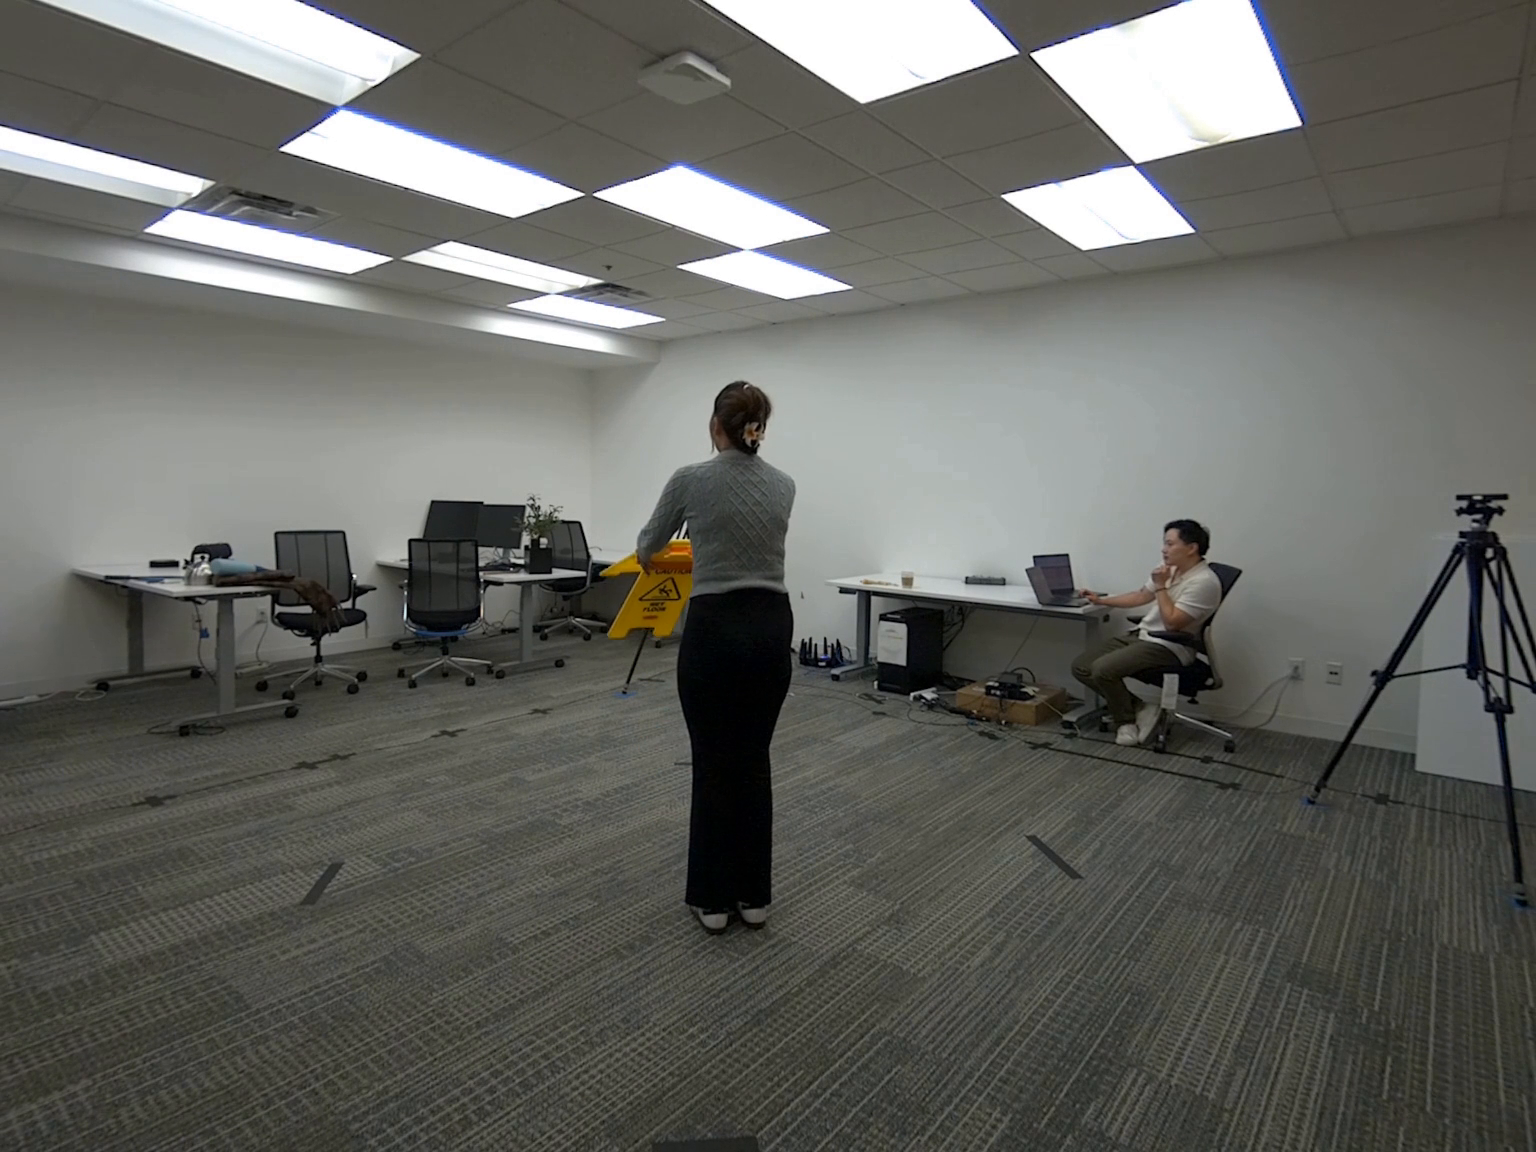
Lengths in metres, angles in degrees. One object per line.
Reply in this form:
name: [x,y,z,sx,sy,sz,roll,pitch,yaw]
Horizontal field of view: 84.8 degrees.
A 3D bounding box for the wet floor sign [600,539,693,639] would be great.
wet floor sign: [-0.457,-0.004,3.385,0.275,0.297,0.647,1,-25,-29]
